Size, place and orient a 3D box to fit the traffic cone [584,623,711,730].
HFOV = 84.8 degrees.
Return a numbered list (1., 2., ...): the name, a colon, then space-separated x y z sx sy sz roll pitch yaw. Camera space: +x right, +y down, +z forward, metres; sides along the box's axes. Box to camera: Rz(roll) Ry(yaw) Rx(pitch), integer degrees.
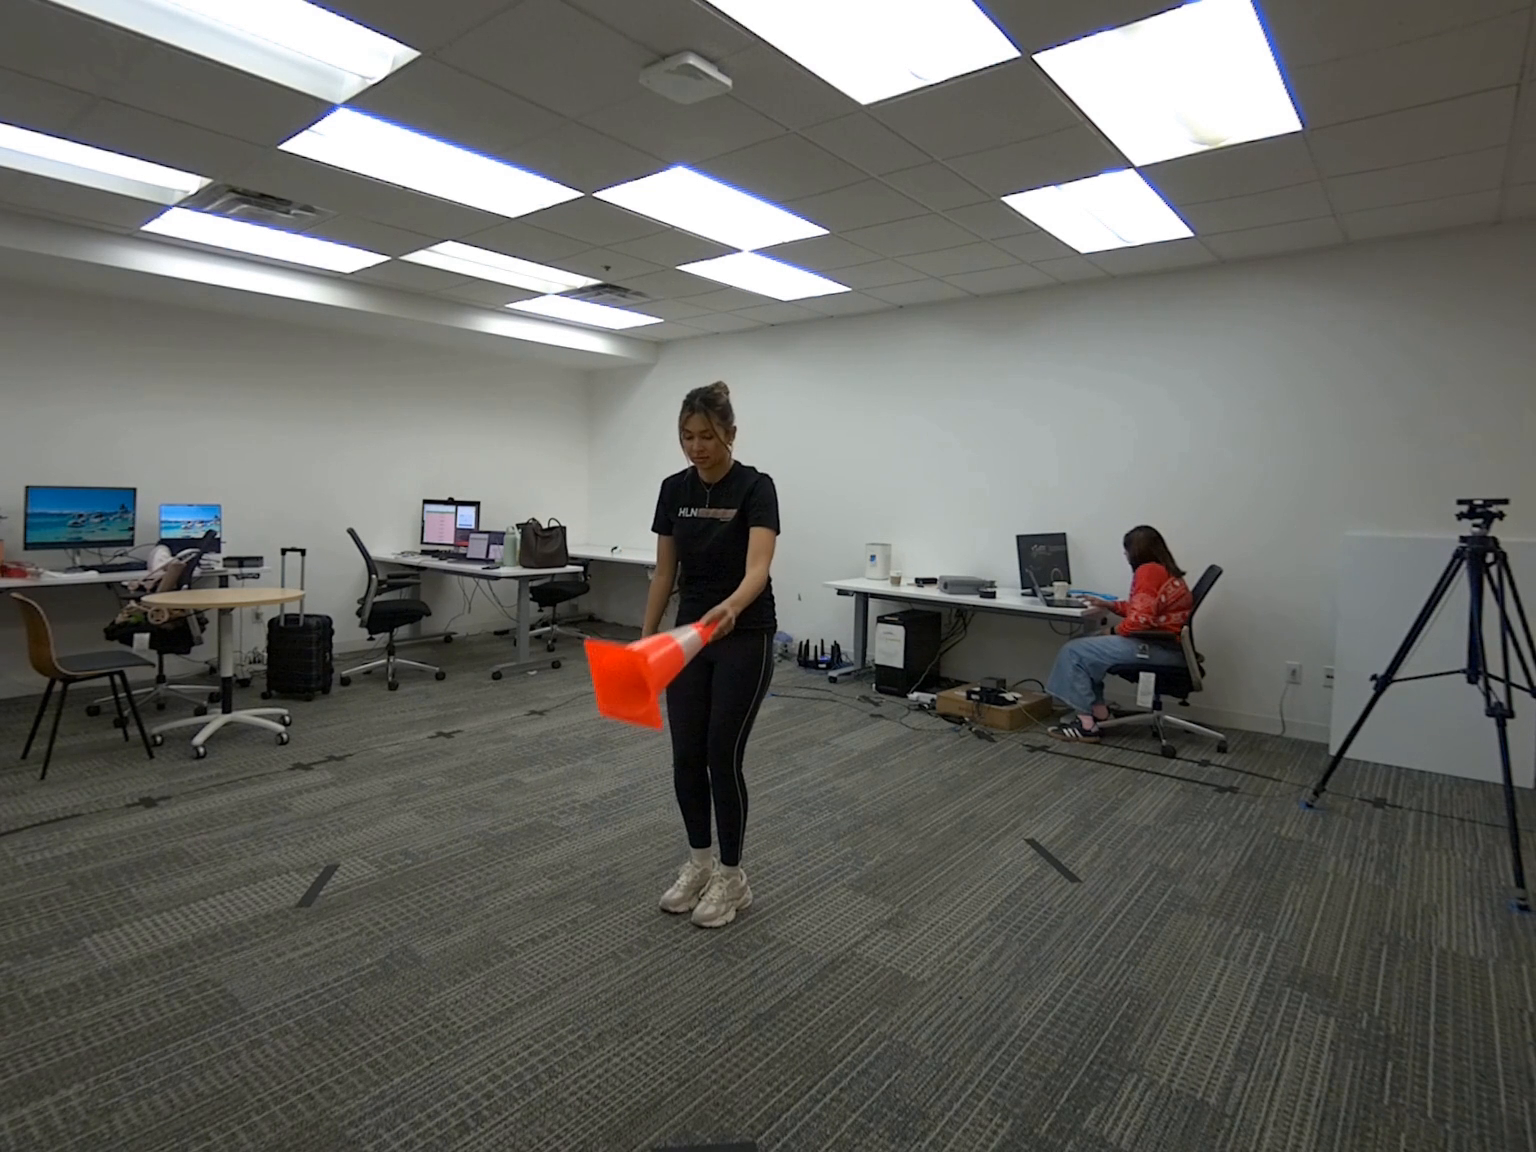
1. traffic cone: -0.228 0.179 2.088 0.211 0.200 0.378 2 20 38
